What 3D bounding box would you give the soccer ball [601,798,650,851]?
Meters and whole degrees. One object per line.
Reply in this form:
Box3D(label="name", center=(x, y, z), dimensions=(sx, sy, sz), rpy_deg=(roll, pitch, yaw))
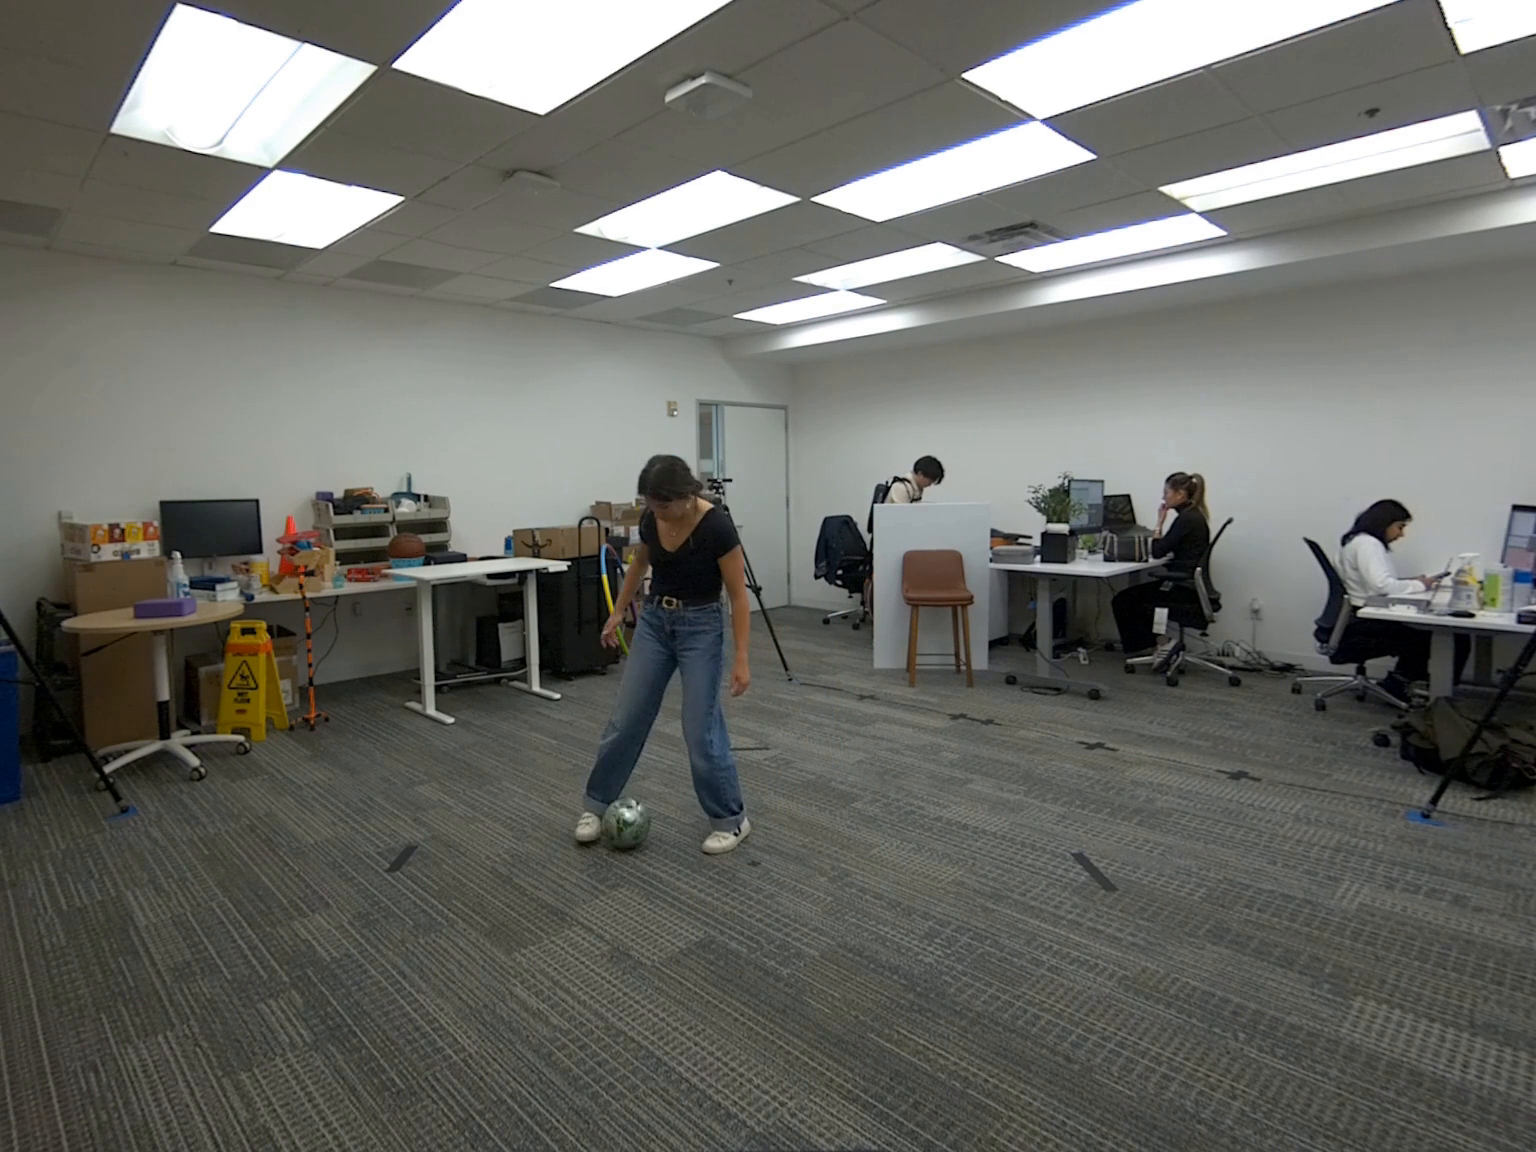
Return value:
Box3D(label="soccer ball", center=(-0.534, 0.942, 3.268), dimensions=(0.187, 0.187, 0.188), rpy_deg=(-1, 5, -2))
